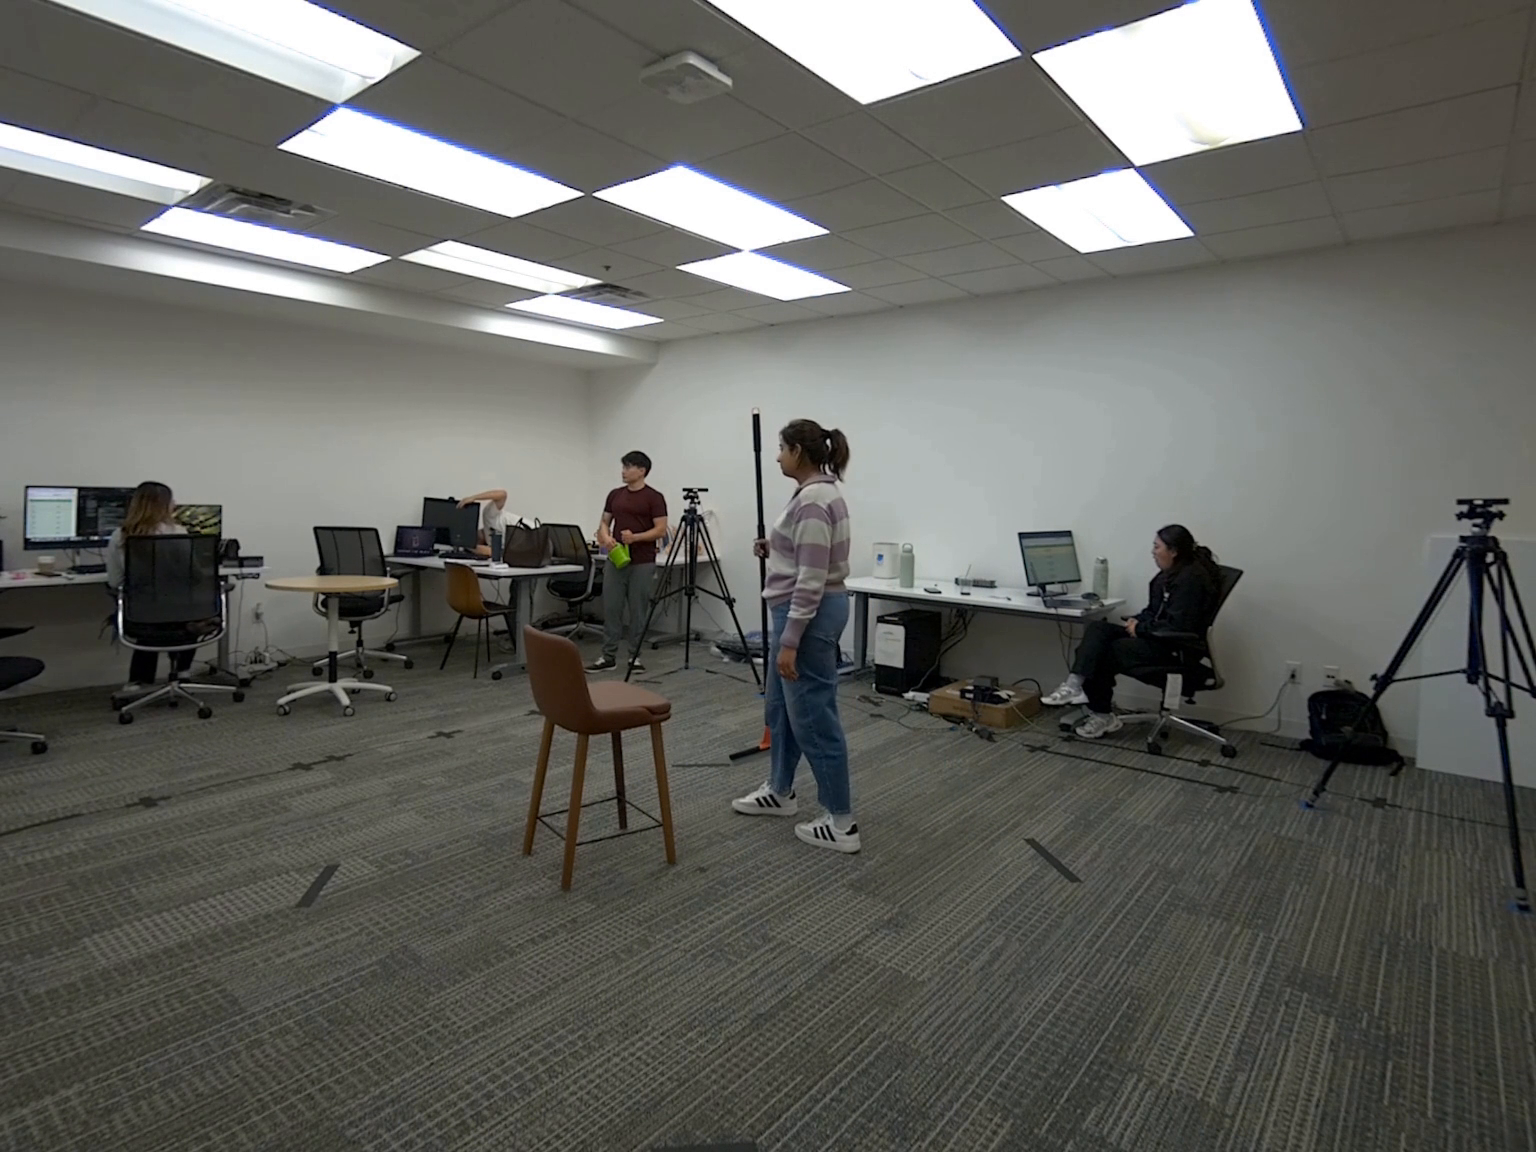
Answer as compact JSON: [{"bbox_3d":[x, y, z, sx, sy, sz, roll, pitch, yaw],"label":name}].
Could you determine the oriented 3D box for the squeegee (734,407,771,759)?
[{"bbox_3d":[-0.045,0.041,3.753,0.426,1.527,0.054,-8,8,-33],"label":"squeegee"}]
